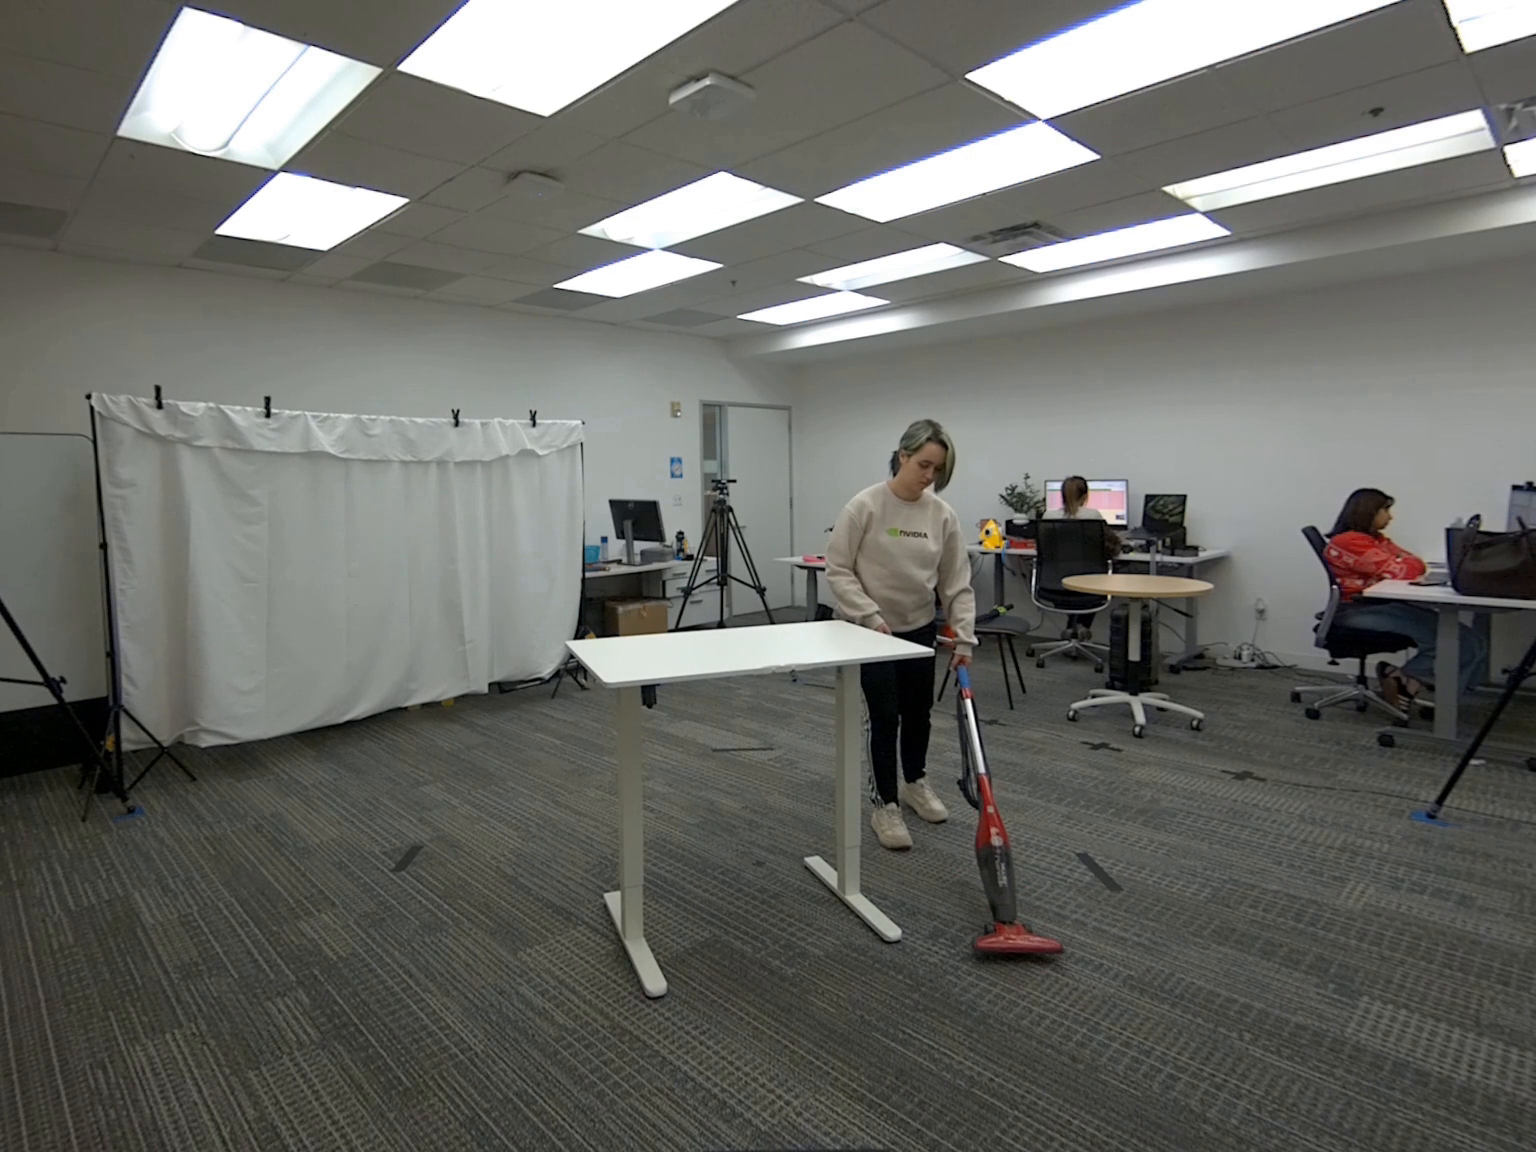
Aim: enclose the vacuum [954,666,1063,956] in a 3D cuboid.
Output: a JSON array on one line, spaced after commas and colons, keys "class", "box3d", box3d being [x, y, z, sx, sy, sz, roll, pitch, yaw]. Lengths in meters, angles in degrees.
[{"class": "vacuum", "box3d": [0.718, 0.701, 2.872, 0.252, 0.140, 1.078, -1, 46, -1]}]
